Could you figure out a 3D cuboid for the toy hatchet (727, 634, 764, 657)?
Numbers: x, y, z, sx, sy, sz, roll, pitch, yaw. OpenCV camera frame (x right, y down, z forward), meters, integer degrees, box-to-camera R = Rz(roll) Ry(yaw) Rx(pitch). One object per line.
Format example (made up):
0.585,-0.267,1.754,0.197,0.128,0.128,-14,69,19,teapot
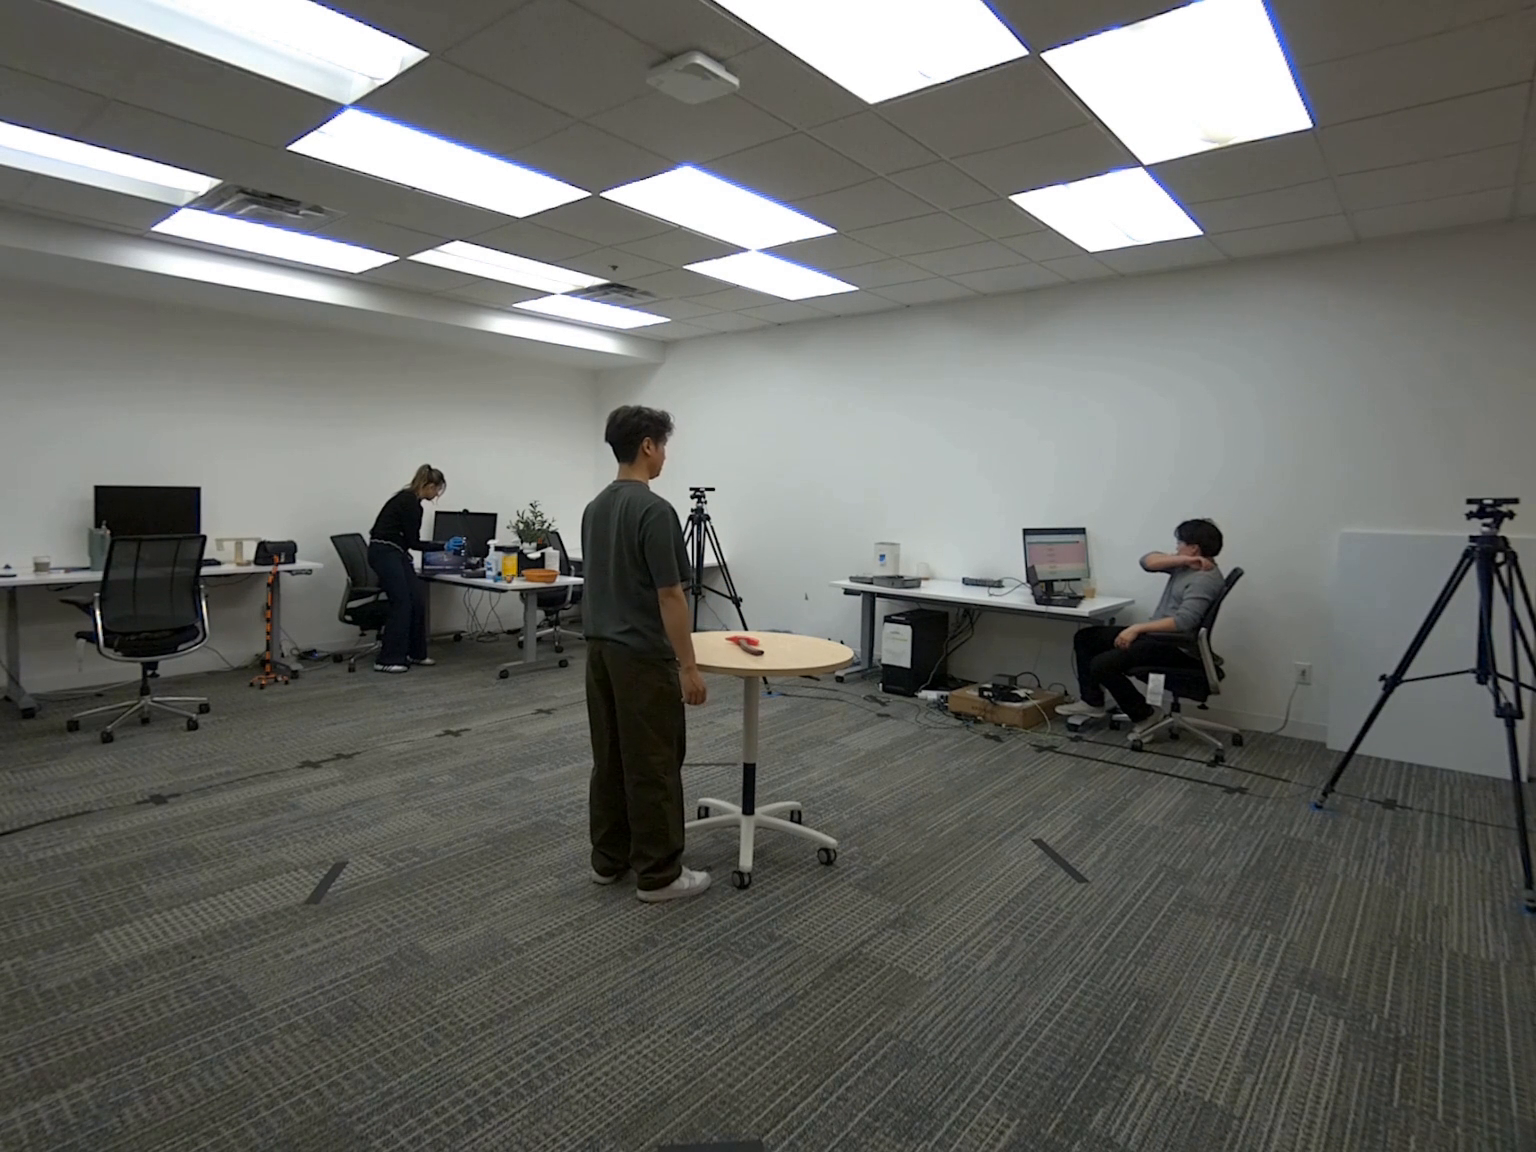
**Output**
-0.068,0.262,3.244,0.128,0.029,0.278,3,6,-26,toy hatchet
